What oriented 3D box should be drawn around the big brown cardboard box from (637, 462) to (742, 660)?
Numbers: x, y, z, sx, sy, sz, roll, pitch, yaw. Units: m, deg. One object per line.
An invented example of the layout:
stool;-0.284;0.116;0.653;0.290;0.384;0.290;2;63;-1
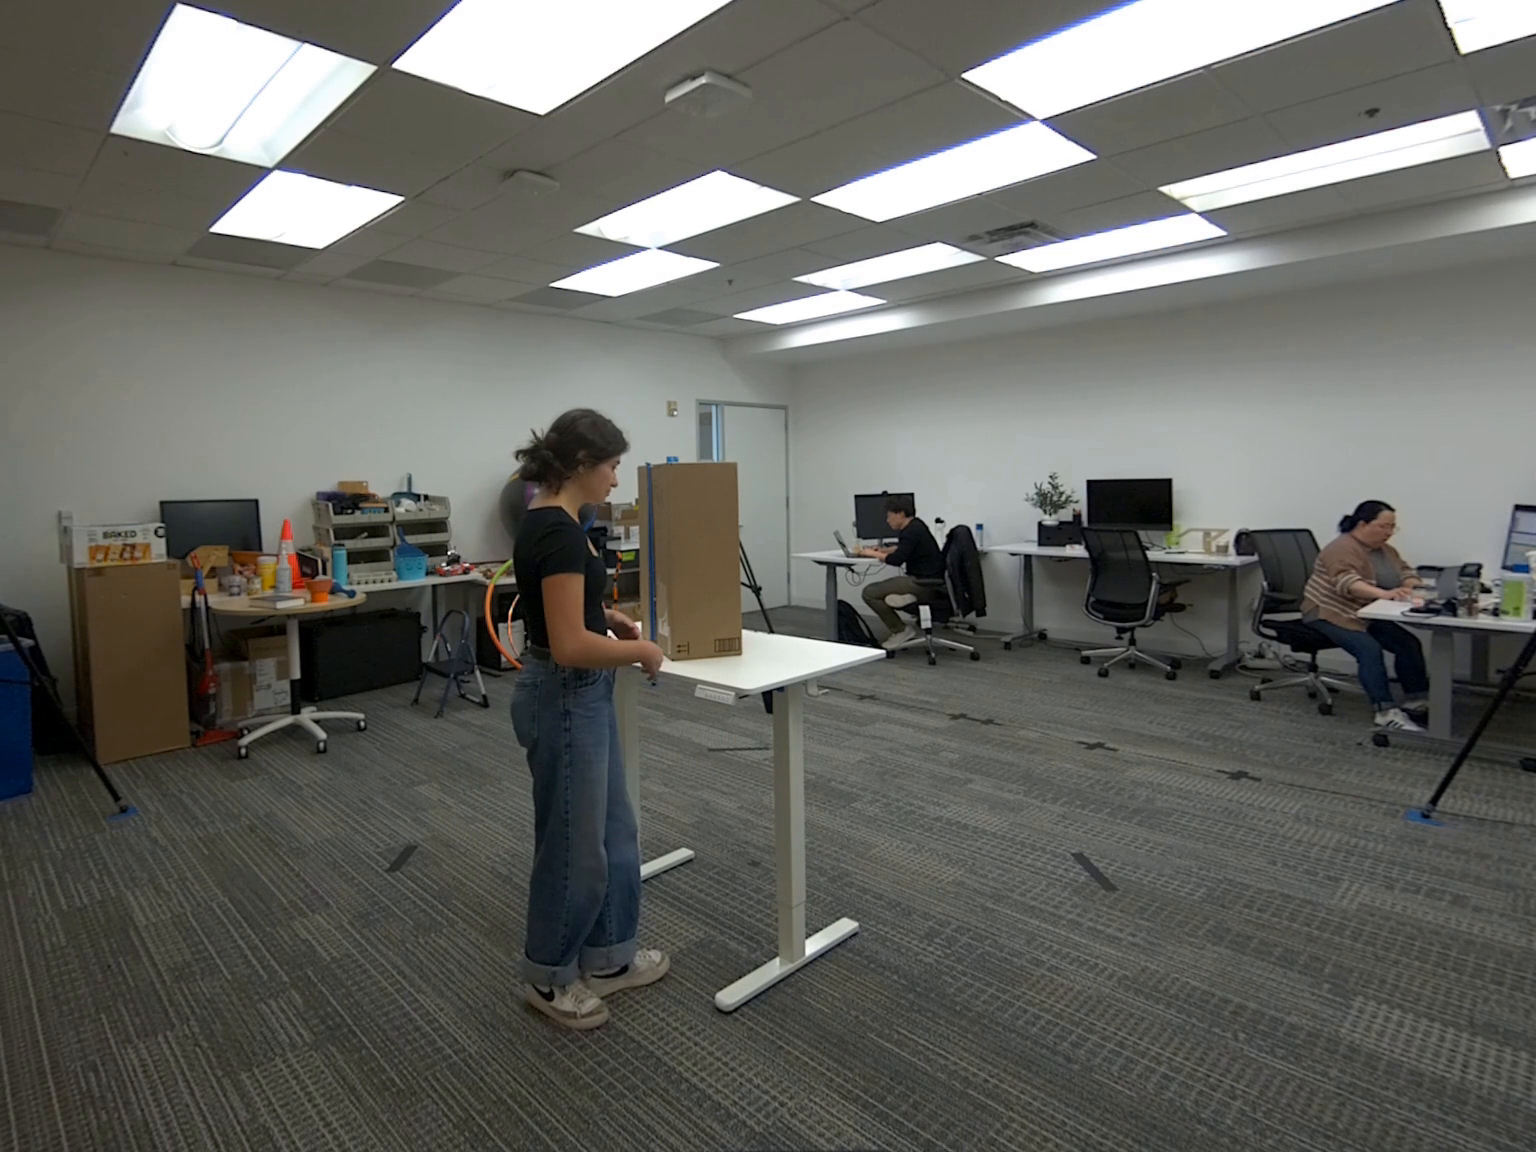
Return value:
big brown cardboard box;-0.250;-0.059;2.652;0.229;0.588;0.426;-2;3;-19
